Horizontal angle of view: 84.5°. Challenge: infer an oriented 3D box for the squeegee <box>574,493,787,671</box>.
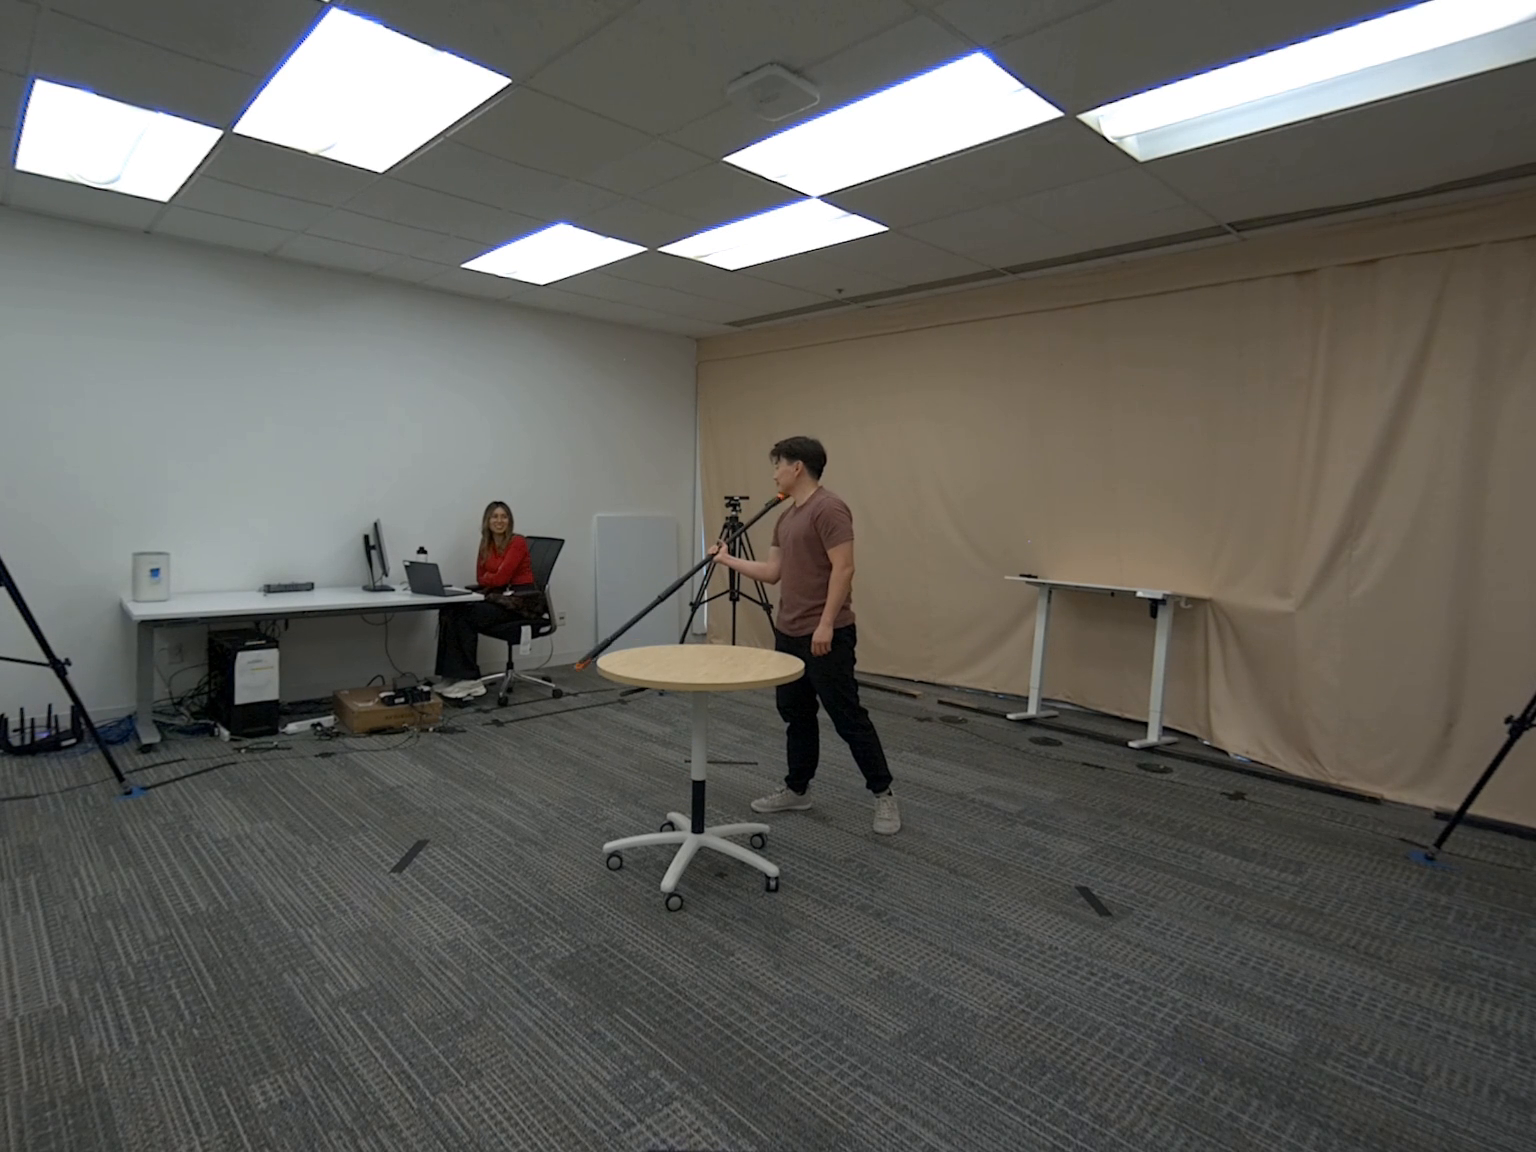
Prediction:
[{"bbox_3d":[-0.340,-0.041,3.836,1.531,0.053,0.440,-41,5,-38],"label":"squeegee"}]
